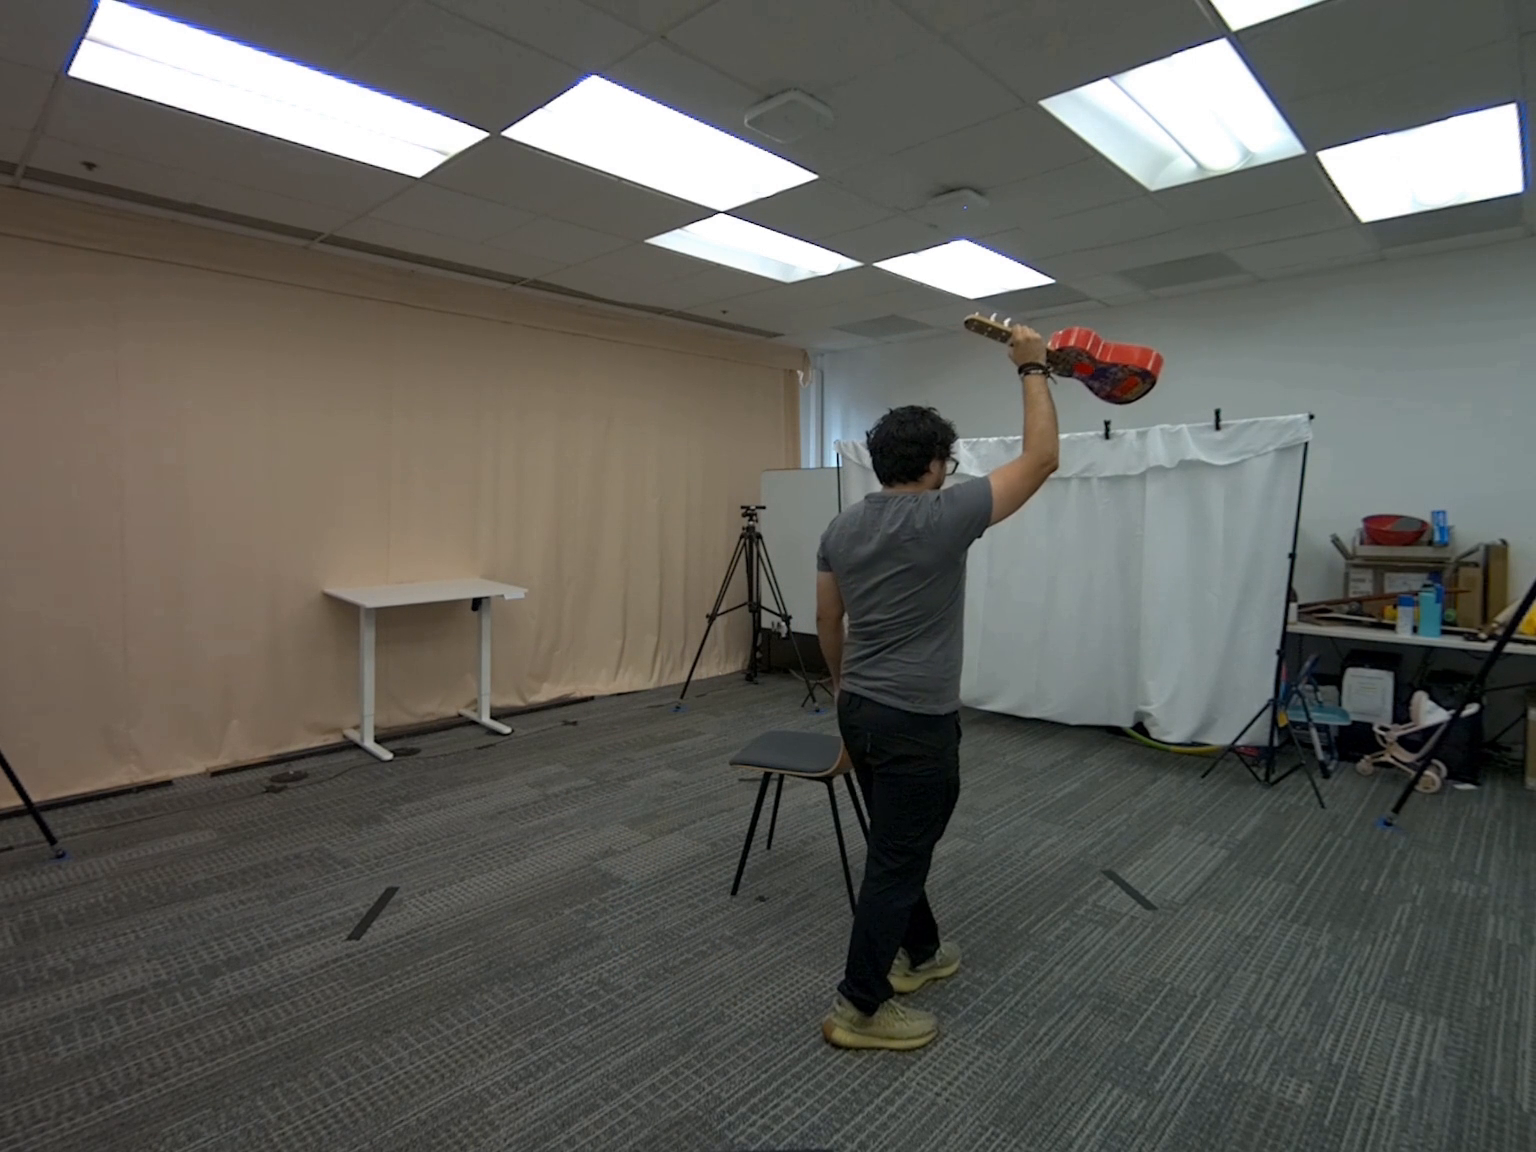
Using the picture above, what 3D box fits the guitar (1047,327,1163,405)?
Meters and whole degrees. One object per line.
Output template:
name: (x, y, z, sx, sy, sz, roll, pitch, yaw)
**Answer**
guitar: (0.768, -0.594, 2.141, 0.494, 0.071, 0.194, 25, -15, -6)
